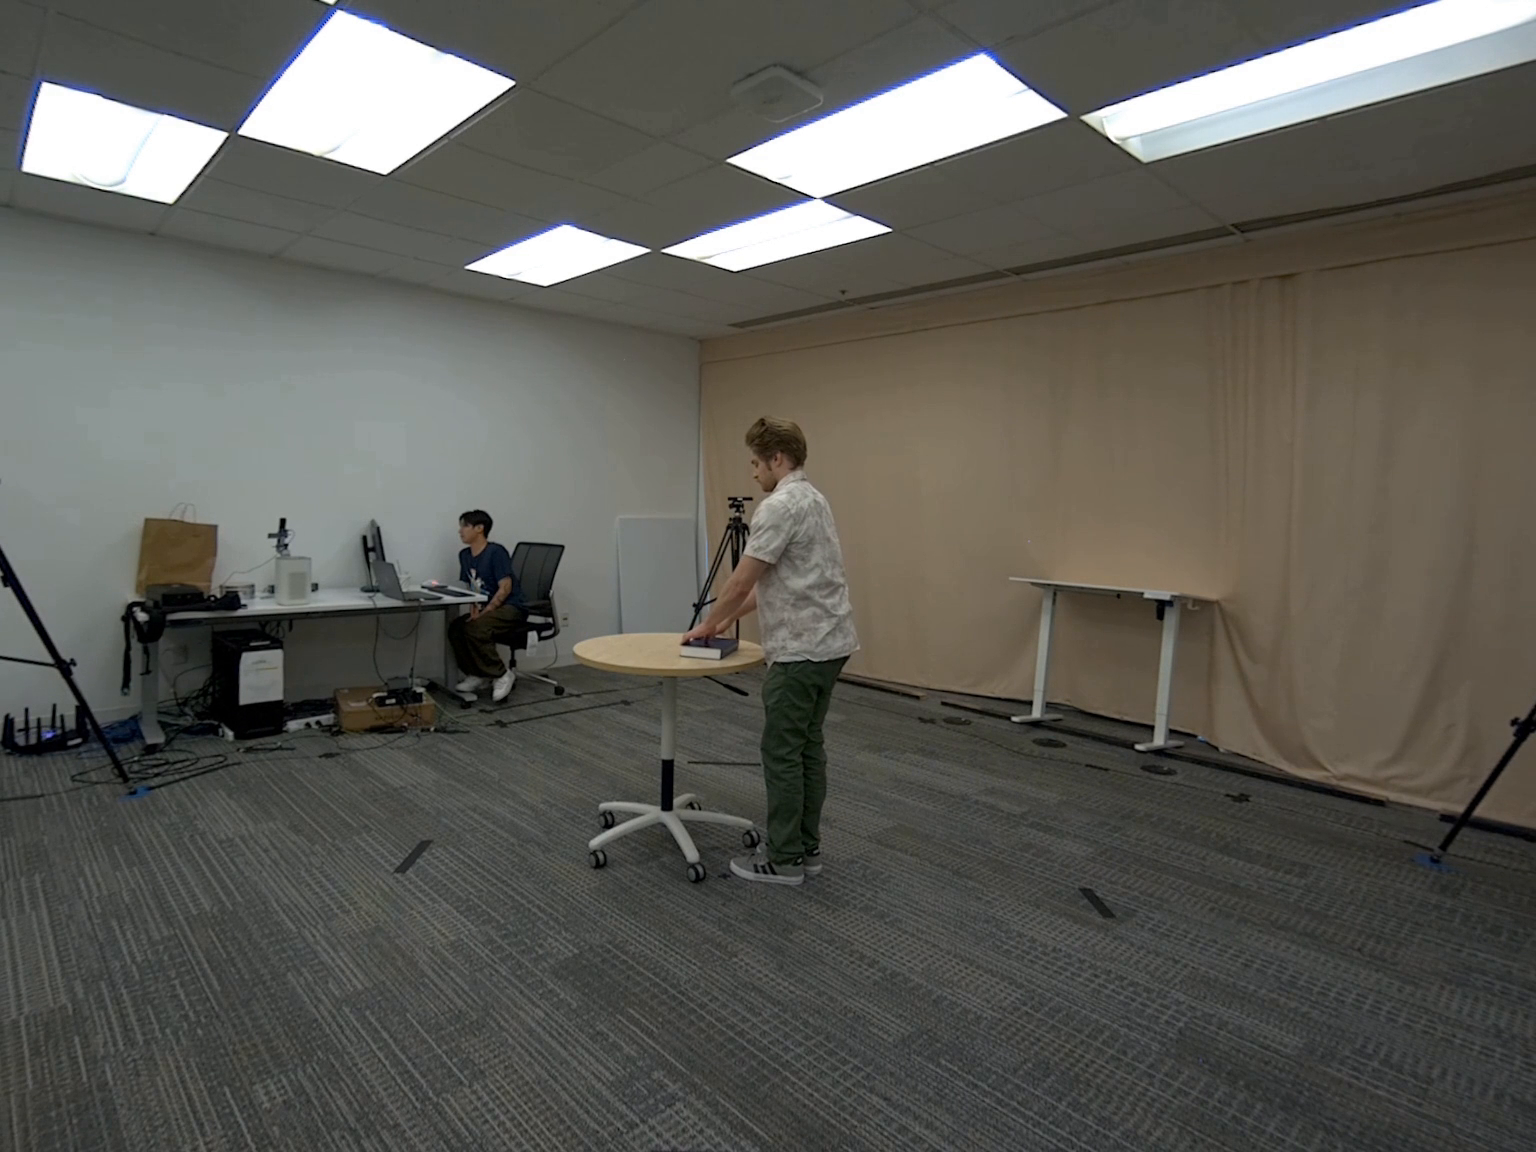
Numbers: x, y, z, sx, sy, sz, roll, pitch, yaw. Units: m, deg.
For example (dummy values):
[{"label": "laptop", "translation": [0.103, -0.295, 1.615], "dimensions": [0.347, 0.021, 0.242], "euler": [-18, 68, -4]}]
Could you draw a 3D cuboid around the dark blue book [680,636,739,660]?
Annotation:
[{"label": "dark blue book", "translation": [-0.227, 0.282, 3.283], "dimensions": [0.165, 0.045, 0.243], "euler": [2, 6, 13]}]
